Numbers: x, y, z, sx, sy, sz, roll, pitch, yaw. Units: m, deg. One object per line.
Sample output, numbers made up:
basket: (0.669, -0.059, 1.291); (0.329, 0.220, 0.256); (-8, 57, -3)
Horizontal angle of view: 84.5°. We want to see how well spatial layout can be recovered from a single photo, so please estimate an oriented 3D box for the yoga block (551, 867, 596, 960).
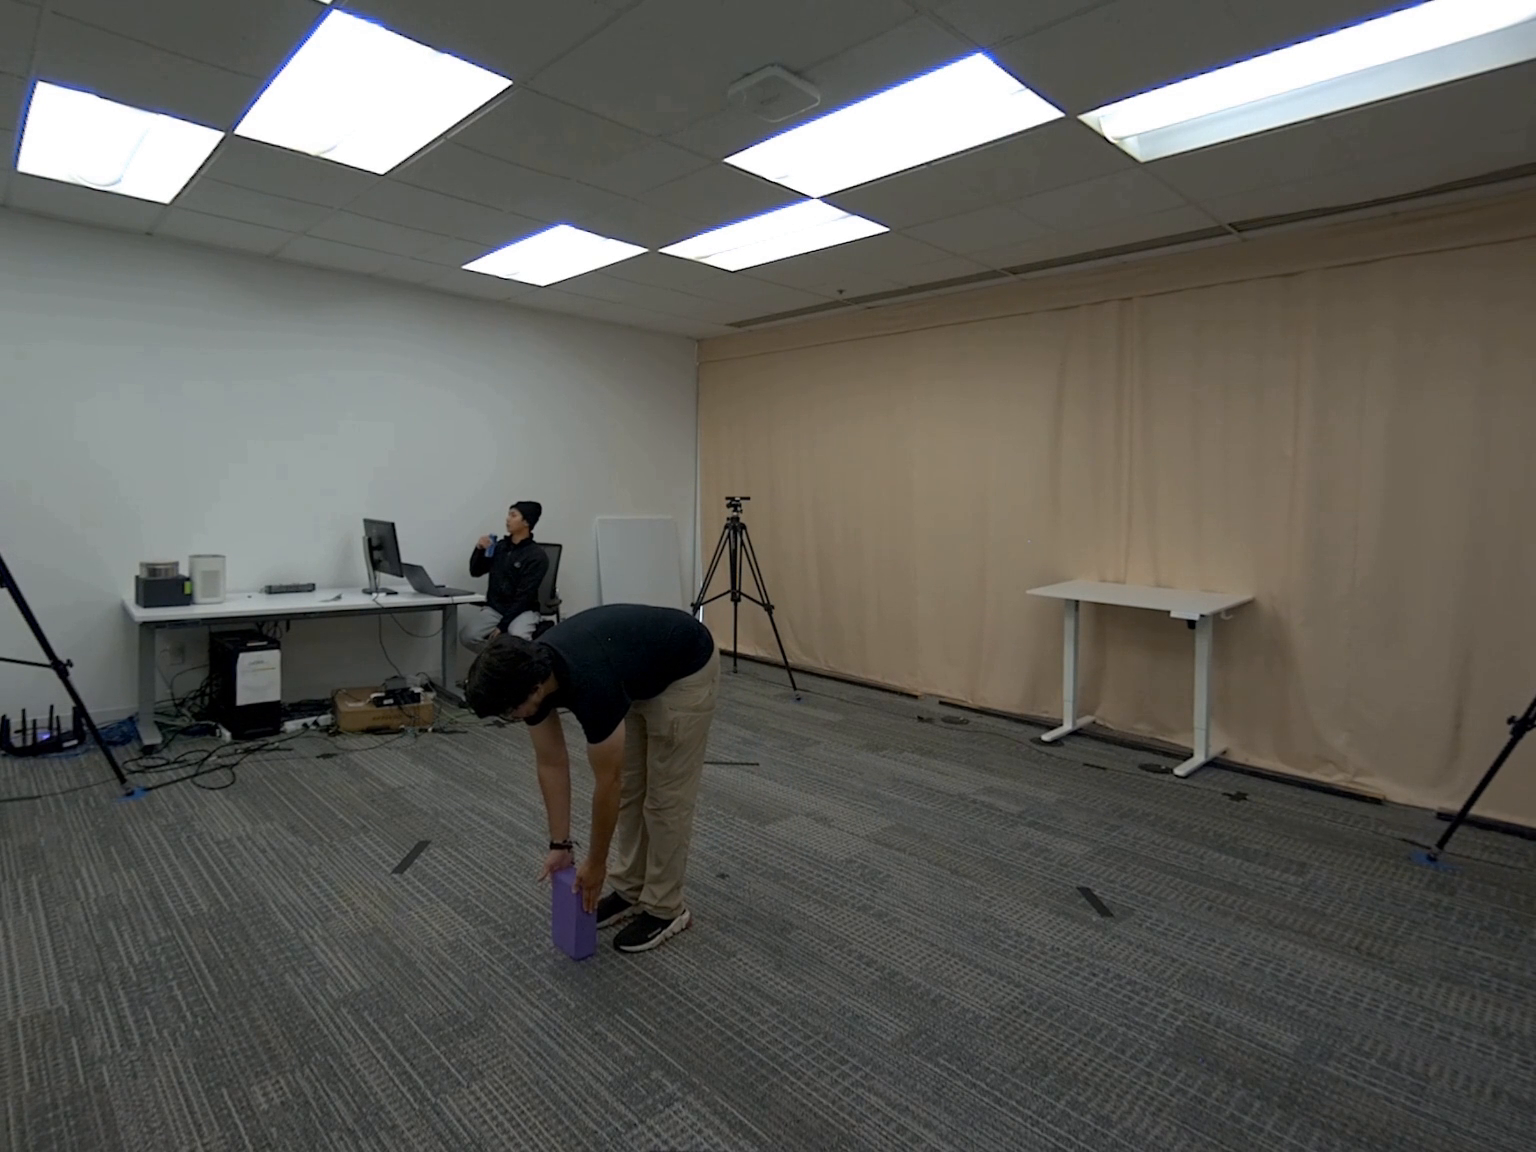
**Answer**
yoga block: (-0.597, 1.033, 2.575); (0.075, 0.228, 0.153); (-5, 7, -40)
